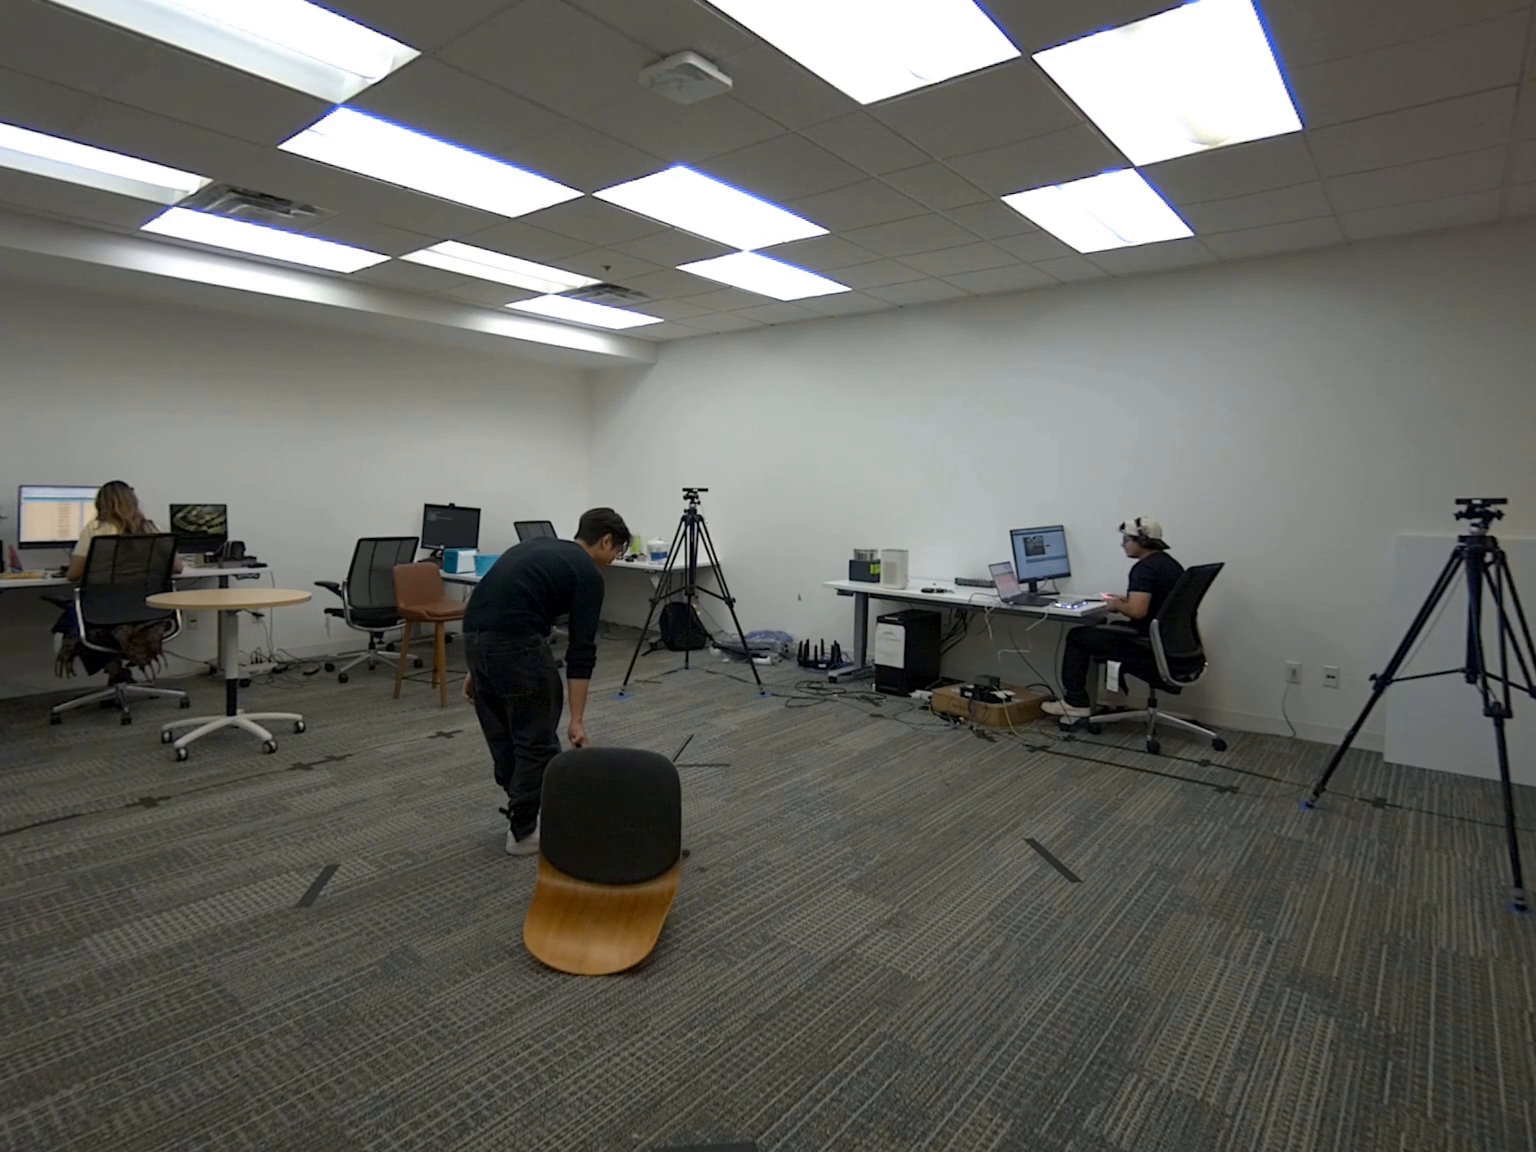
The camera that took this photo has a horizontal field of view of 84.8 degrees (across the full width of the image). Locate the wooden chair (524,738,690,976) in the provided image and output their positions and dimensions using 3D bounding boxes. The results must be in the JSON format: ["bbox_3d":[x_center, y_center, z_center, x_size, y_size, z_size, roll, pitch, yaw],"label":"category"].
[{"bbox_3d":[-0.532,0.829,2.829,0.479,0.521,0.879,2,6,1],"label":"wooden chair"}]
